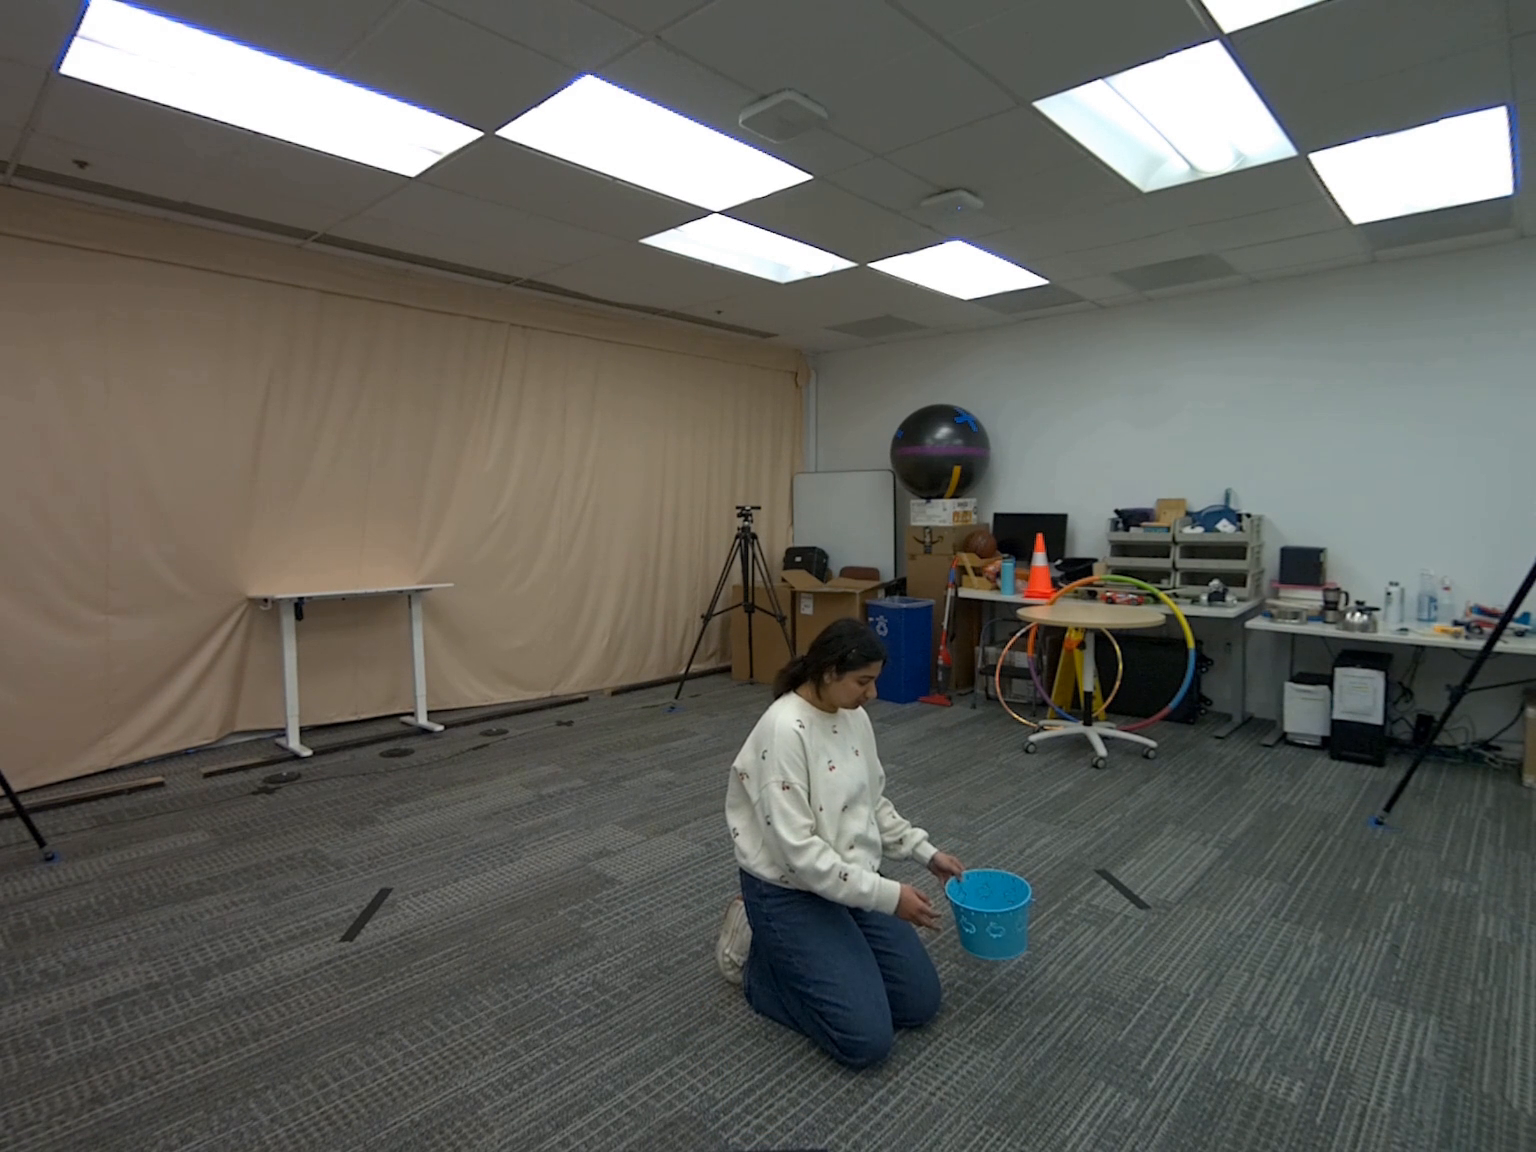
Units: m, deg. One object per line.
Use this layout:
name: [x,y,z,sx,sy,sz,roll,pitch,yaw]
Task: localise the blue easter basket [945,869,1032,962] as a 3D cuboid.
blue easter basket: [0.632,0.946,2.320,0.243,0.155,0.245,-6,7,-1]
